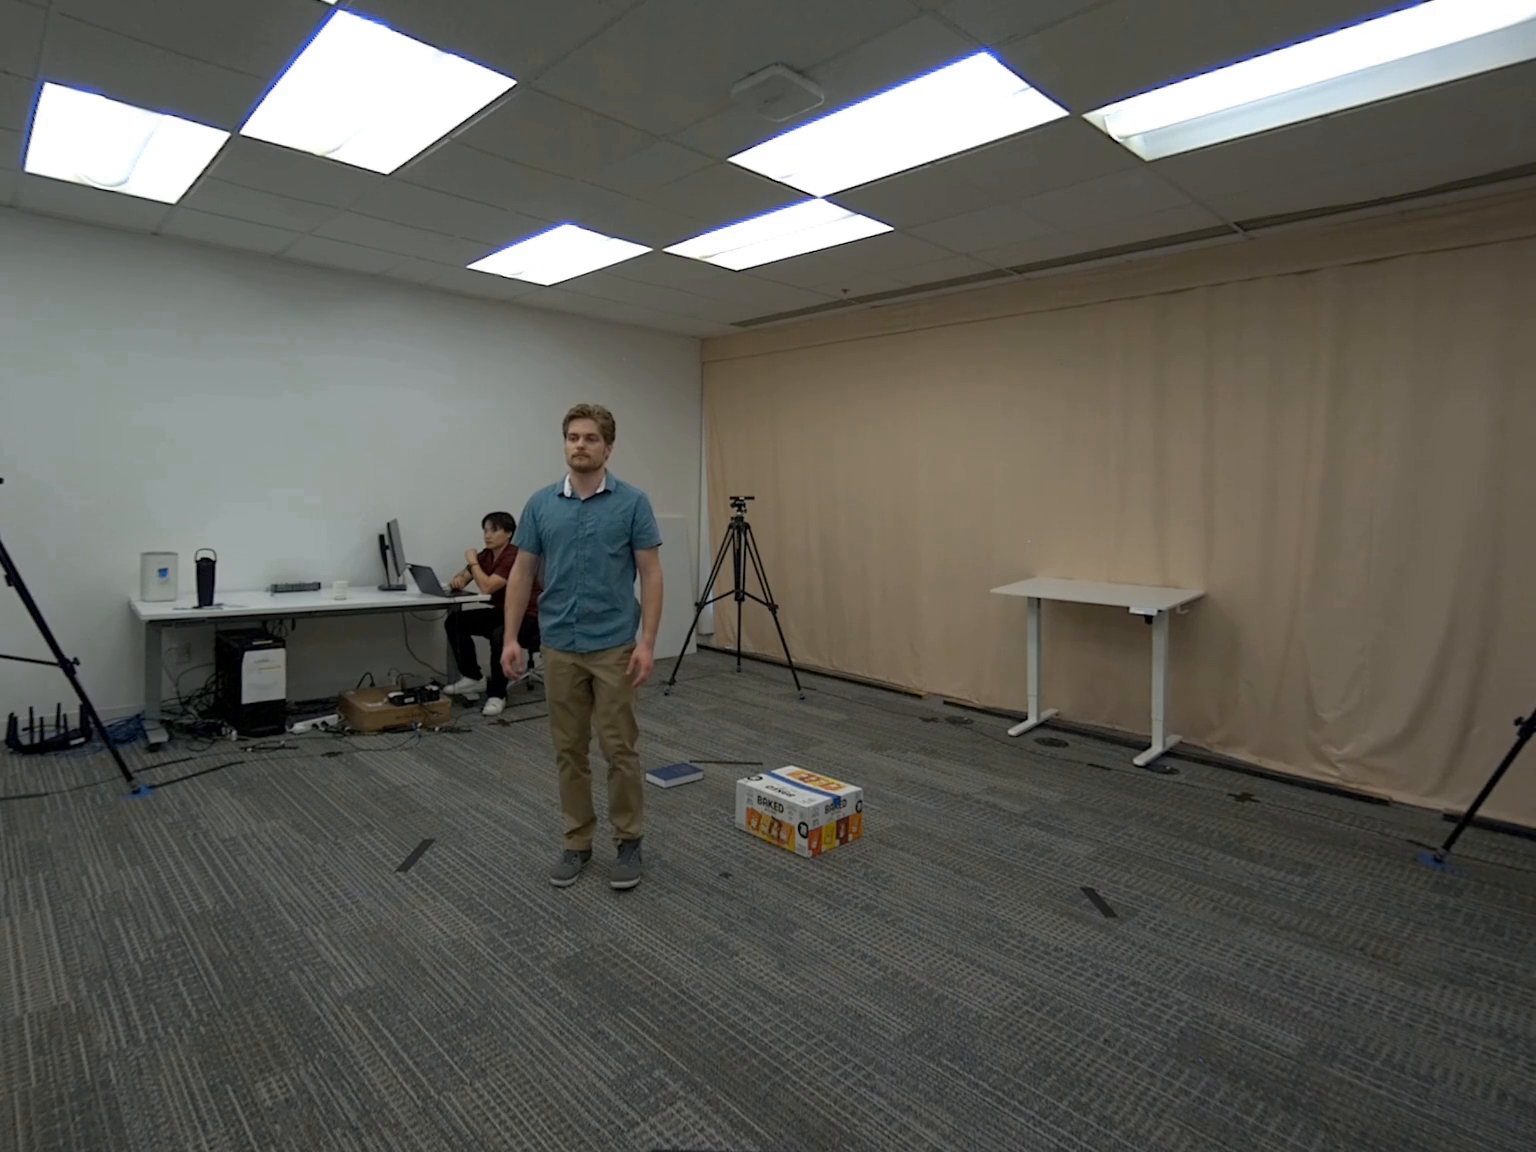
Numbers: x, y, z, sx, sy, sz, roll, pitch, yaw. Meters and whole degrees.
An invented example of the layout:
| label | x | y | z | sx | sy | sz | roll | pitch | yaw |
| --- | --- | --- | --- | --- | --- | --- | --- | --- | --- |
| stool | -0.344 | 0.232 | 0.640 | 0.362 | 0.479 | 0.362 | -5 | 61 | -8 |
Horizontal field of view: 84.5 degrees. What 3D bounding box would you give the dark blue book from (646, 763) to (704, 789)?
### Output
| label | x | y | z | sx | sy | sz | roll | pitch | yaw |
| --- | --- | --- | --- | --- | --- | --- | --- | --- | --- |
| dark blue book | -0.474 | 0.984 | 4.157 | 0.239 | 0.045 | 0.167 | -2 | 6 | -43 |
